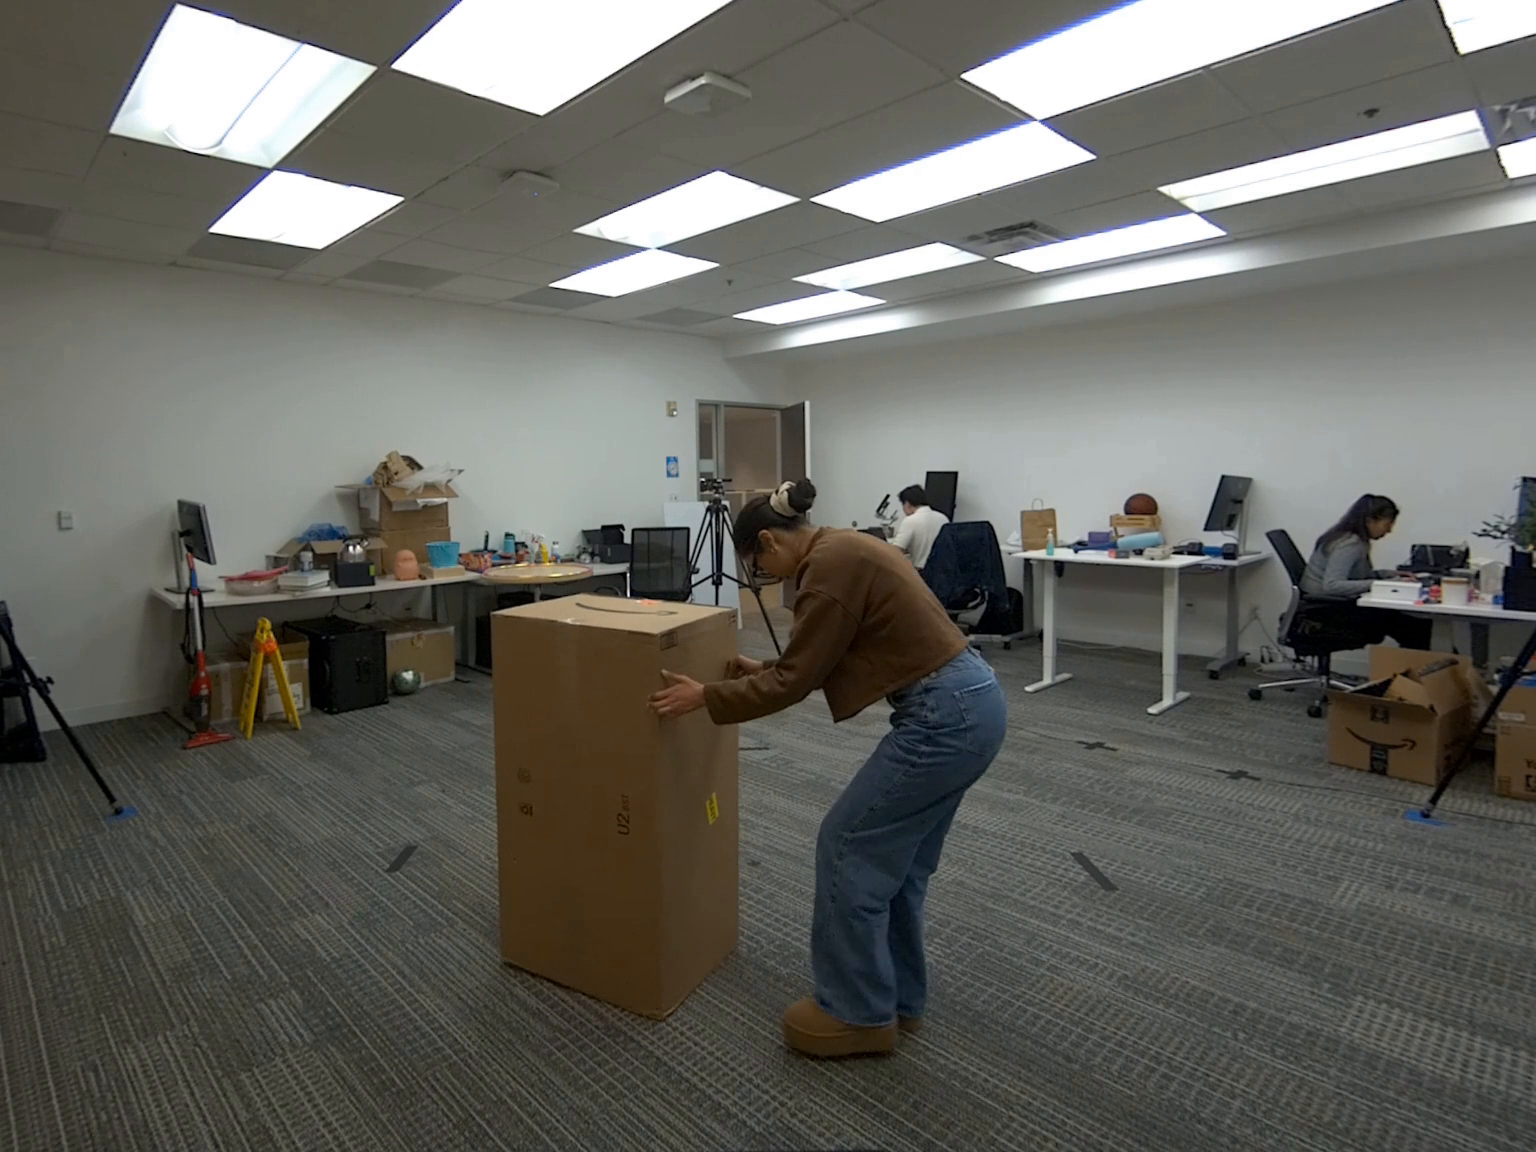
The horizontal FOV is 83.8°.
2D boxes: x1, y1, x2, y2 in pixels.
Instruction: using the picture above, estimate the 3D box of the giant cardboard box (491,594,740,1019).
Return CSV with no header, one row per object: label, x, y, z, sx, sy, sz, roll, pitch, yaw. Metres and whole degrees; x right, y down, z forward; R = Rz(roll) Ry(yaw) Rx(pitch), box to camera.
giant cardboard box,-0.434,0.607,2.494,0.593,1.021,0.417,3,6,29
